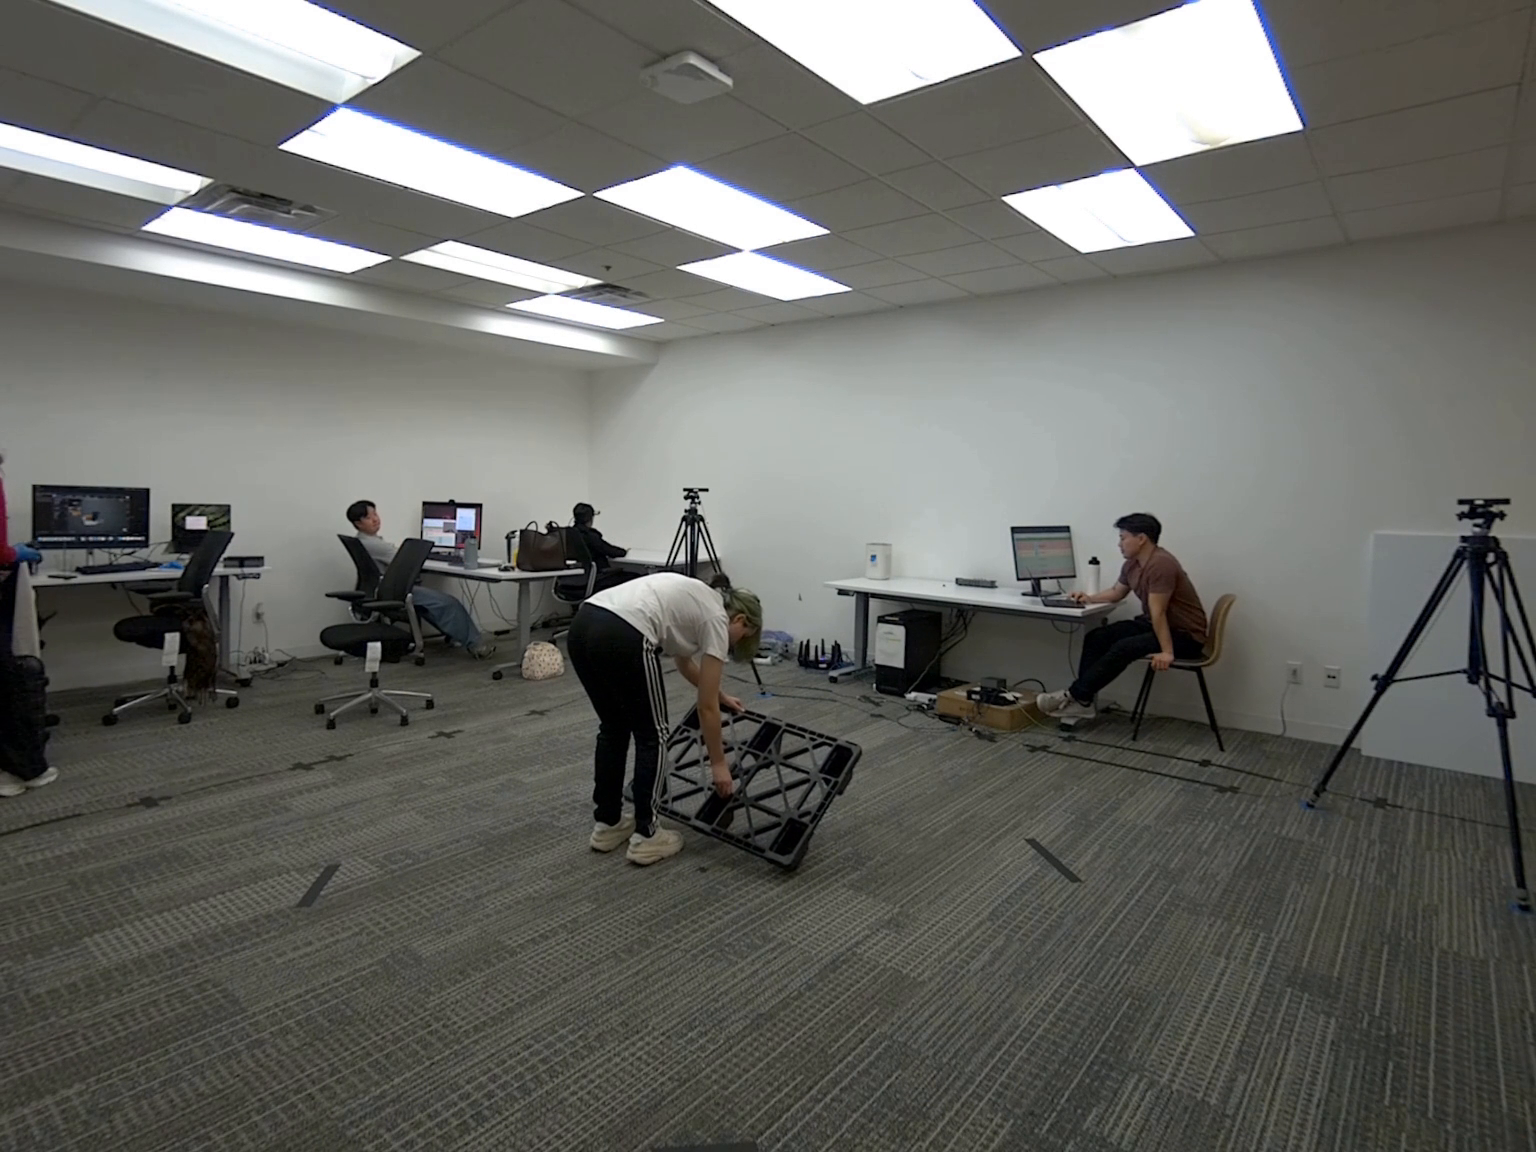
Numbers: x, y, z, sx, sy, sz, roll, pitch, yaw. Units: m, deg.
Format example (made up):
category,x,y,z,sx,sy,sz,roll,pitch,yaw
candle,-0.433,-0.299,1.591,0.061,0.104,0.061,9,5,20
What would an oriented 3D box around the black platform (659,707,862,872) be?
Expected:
category,x,y,z,sx,sy,sz,roll,pitch,yaw
black platform,-0.103,0.827,3.437,0.833,0.138,0.605,11,43,33
